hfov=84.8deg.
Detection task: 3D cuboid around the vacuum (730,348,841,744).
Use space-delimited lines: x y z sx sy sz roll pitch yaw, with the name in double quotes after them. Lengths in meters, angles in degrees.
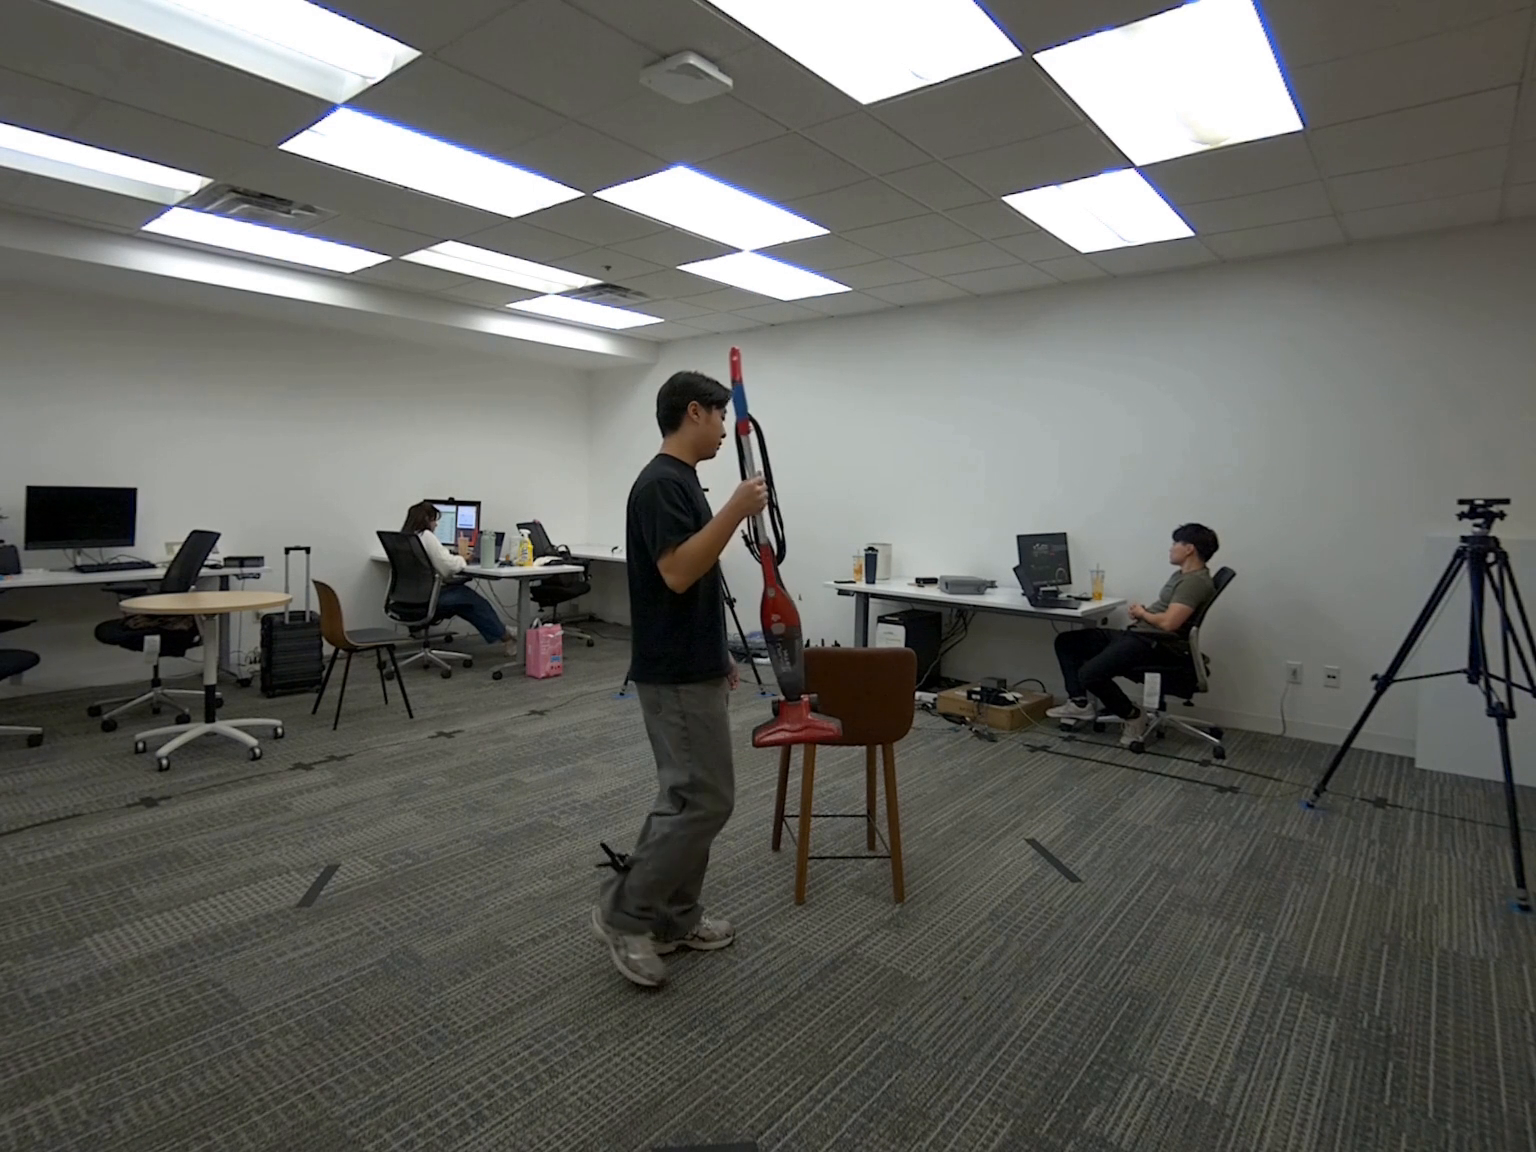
-0.016 -0.095 2.343 0.257 1.045 0.142 -7 4 19 "vacuum"
